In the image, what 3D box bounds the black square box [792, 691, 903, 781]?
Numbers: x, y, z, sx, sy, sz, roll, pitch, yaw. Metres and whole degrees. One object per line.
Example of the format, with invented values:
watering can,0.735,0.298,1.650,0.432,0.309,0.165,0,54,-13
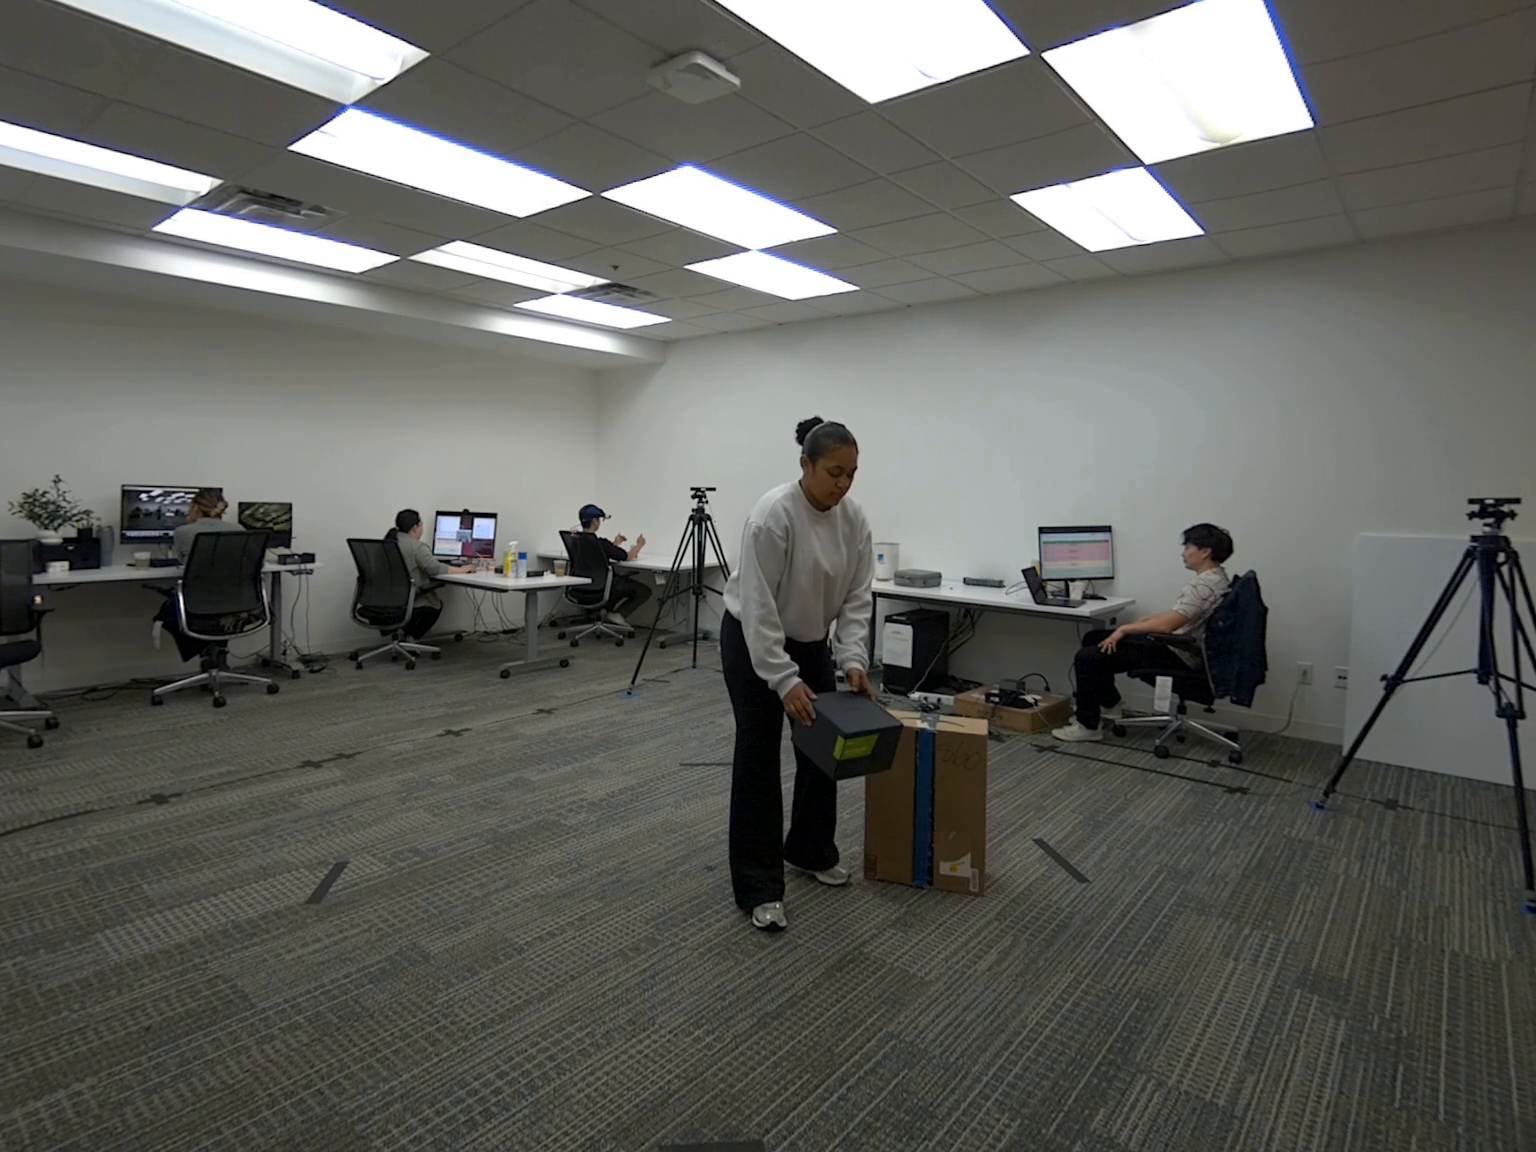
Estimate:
black square box,0.238,0.469,2.528,0.221,0.154,0.226,0,21,-37
